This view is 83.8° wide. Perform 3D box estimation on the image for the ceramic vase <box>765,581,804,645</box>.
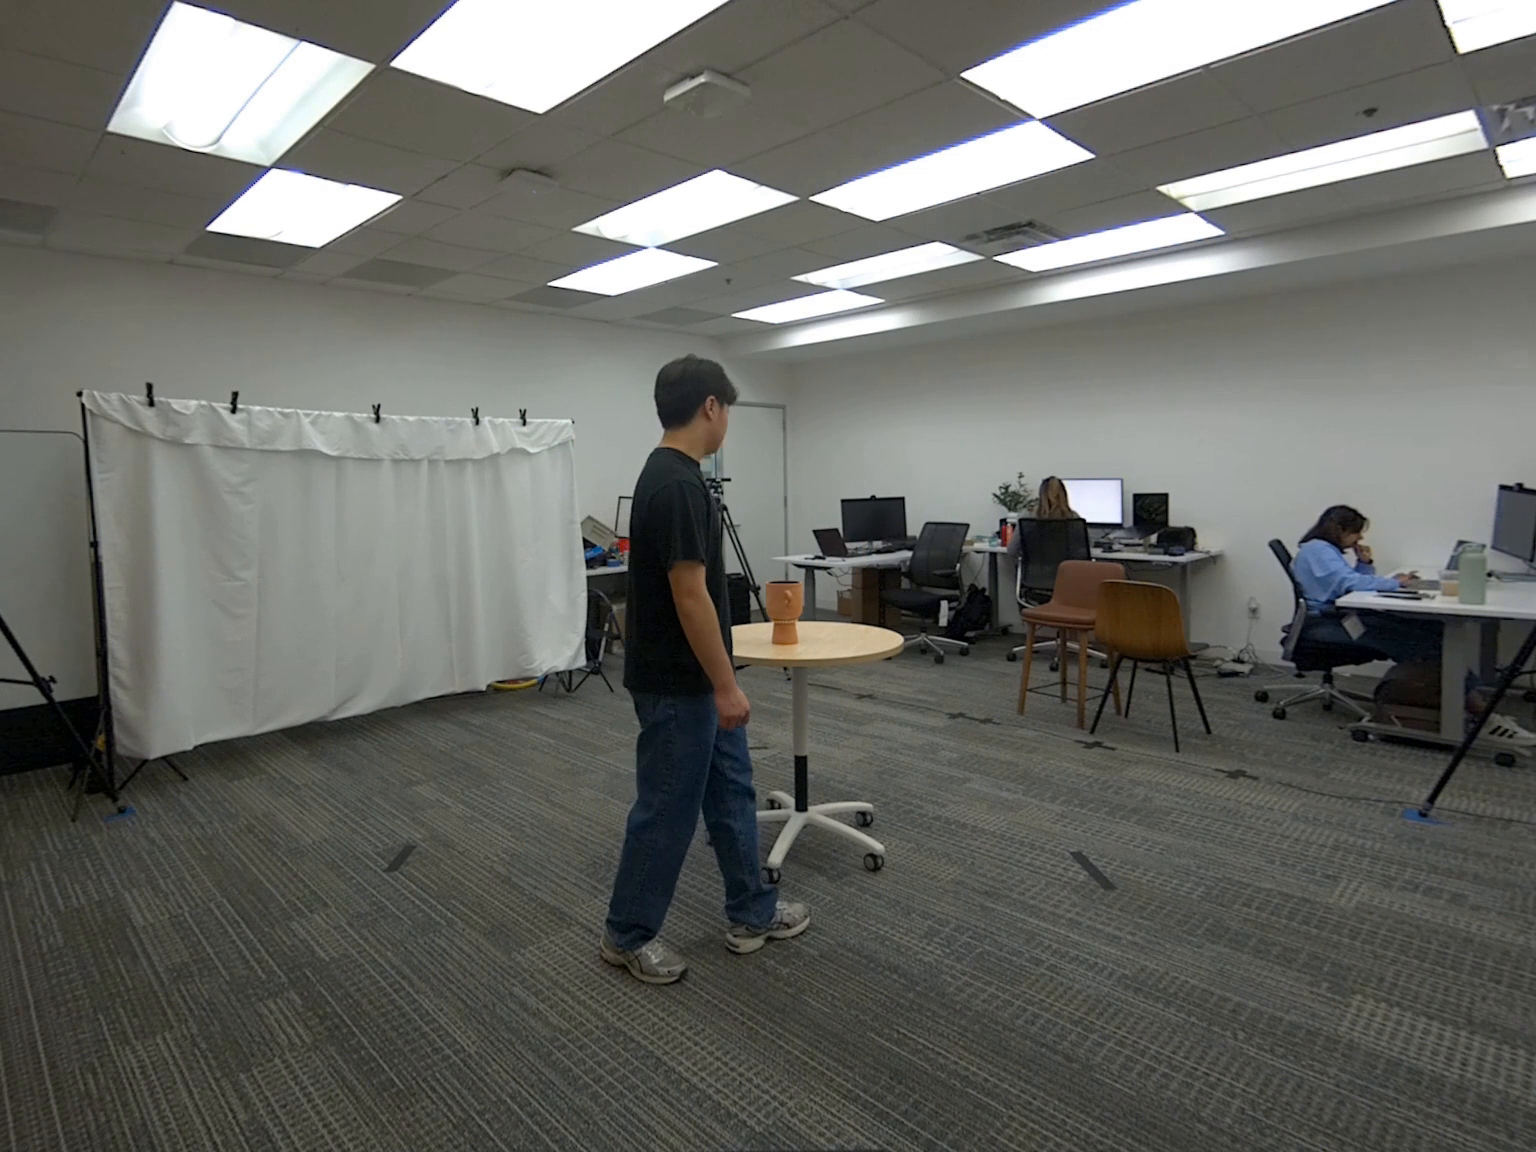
[{"bbox_3d":[0.061,0.132,3.107,0.138,0.219,0.155,0,5,29],"label":"ceramic vase"}]
